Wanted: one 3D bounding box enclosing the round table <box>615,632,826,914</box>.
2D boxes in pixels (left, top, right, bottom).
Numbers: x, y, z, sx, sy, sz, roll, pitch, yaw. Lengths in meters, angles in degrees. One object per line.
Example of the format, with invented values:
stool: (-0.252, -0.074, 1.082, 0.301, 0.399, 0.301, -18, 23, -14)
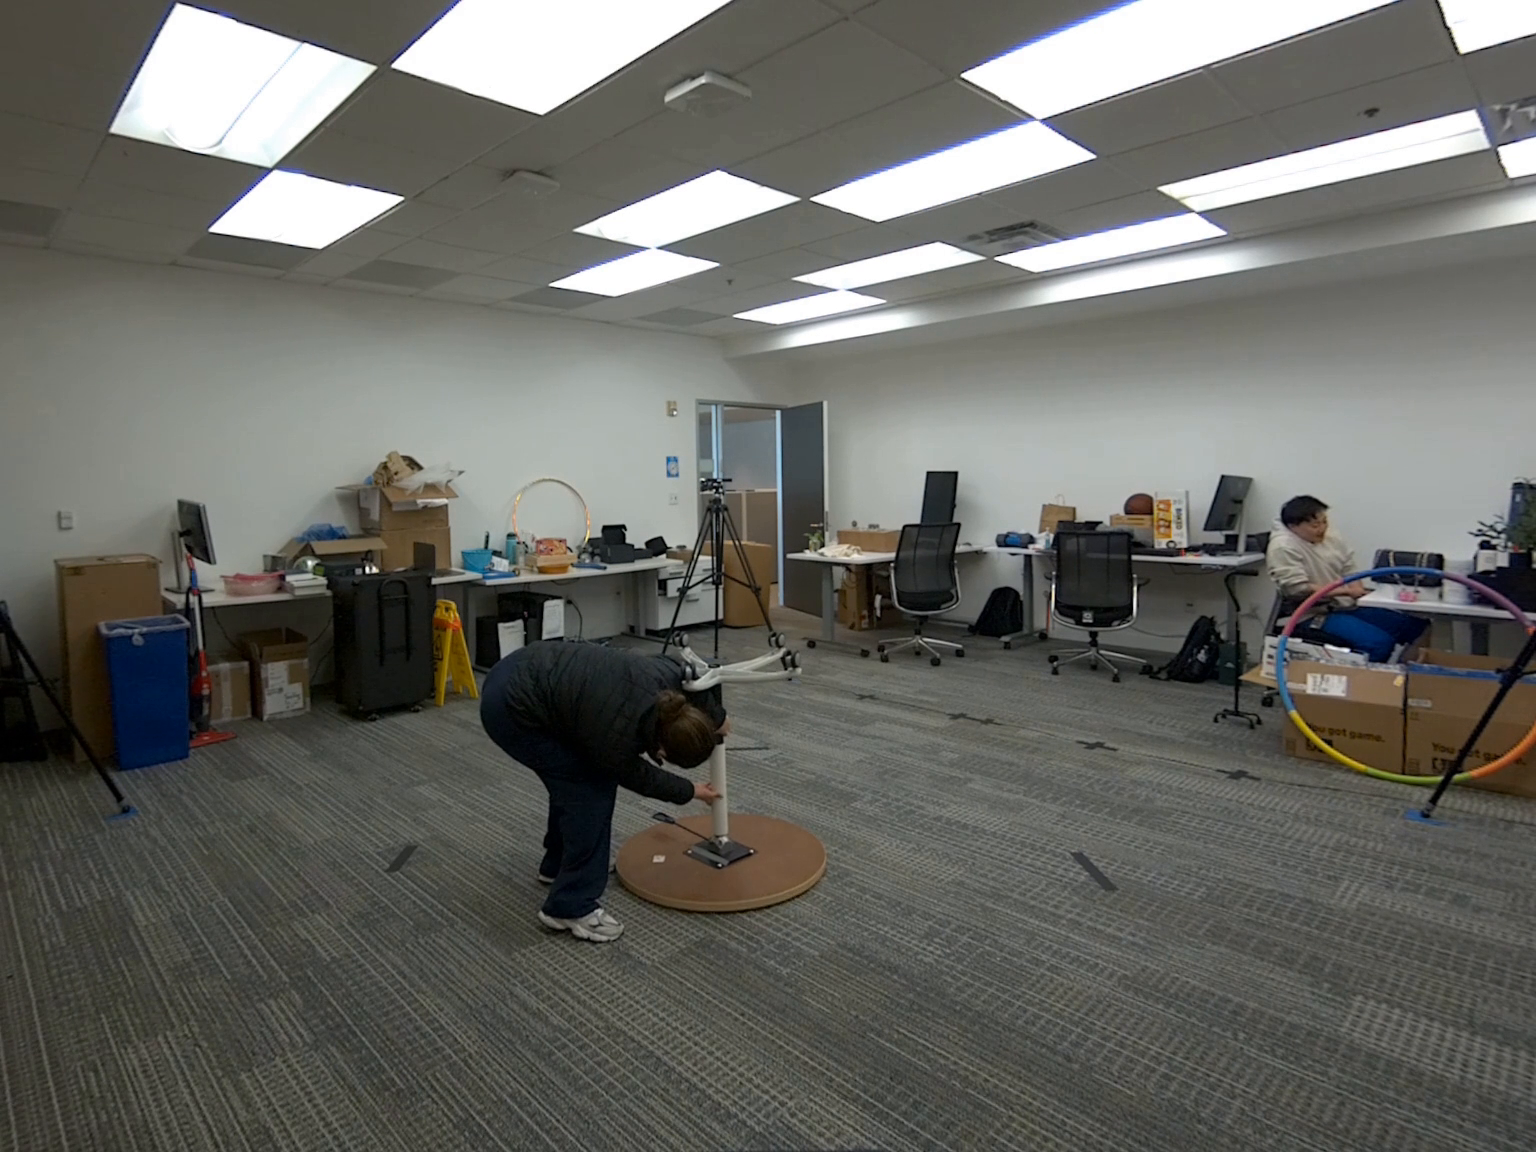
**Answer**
round table: (-0.184, 0.634, 3.131, 0.784, 0.783, 0.789, -1, 5, -2)
